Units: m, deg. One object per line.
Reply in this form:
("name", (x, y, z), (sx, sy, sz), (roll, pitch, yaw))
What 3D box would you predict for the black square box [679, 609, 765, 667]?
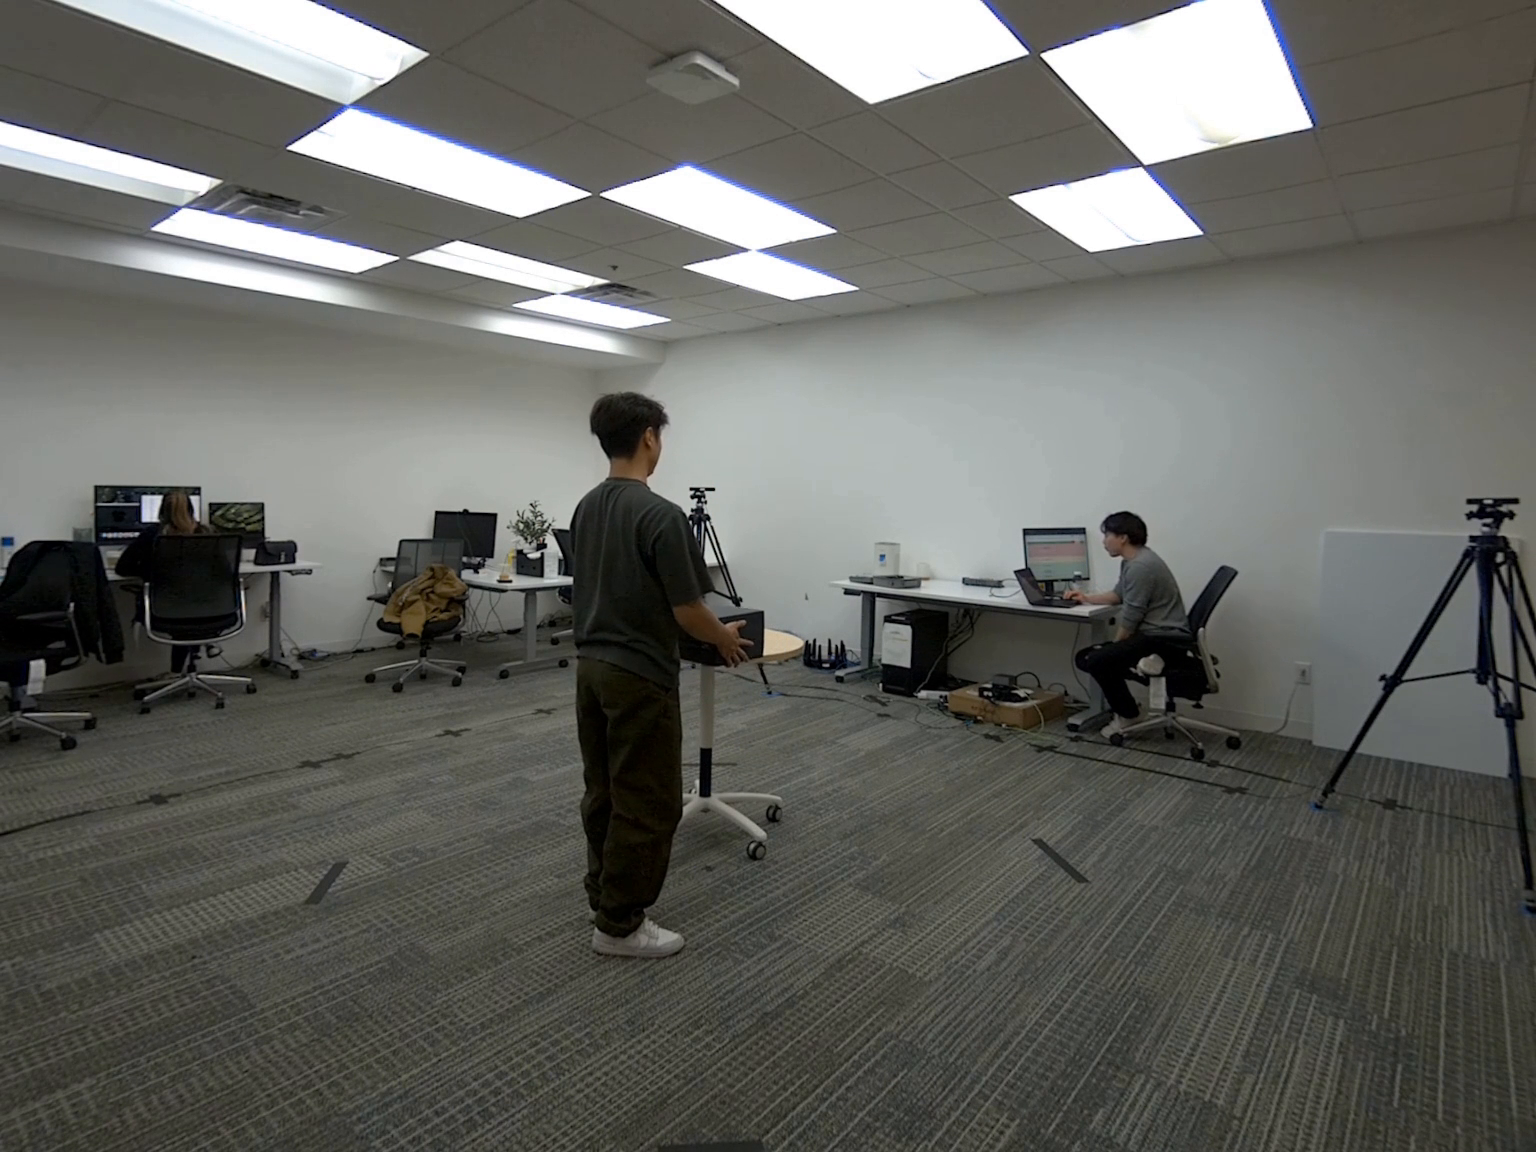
("black square box", (-0.168, 0.187, 2.796), (0.224, 0.155, 0.221), (5, 7, 43))
